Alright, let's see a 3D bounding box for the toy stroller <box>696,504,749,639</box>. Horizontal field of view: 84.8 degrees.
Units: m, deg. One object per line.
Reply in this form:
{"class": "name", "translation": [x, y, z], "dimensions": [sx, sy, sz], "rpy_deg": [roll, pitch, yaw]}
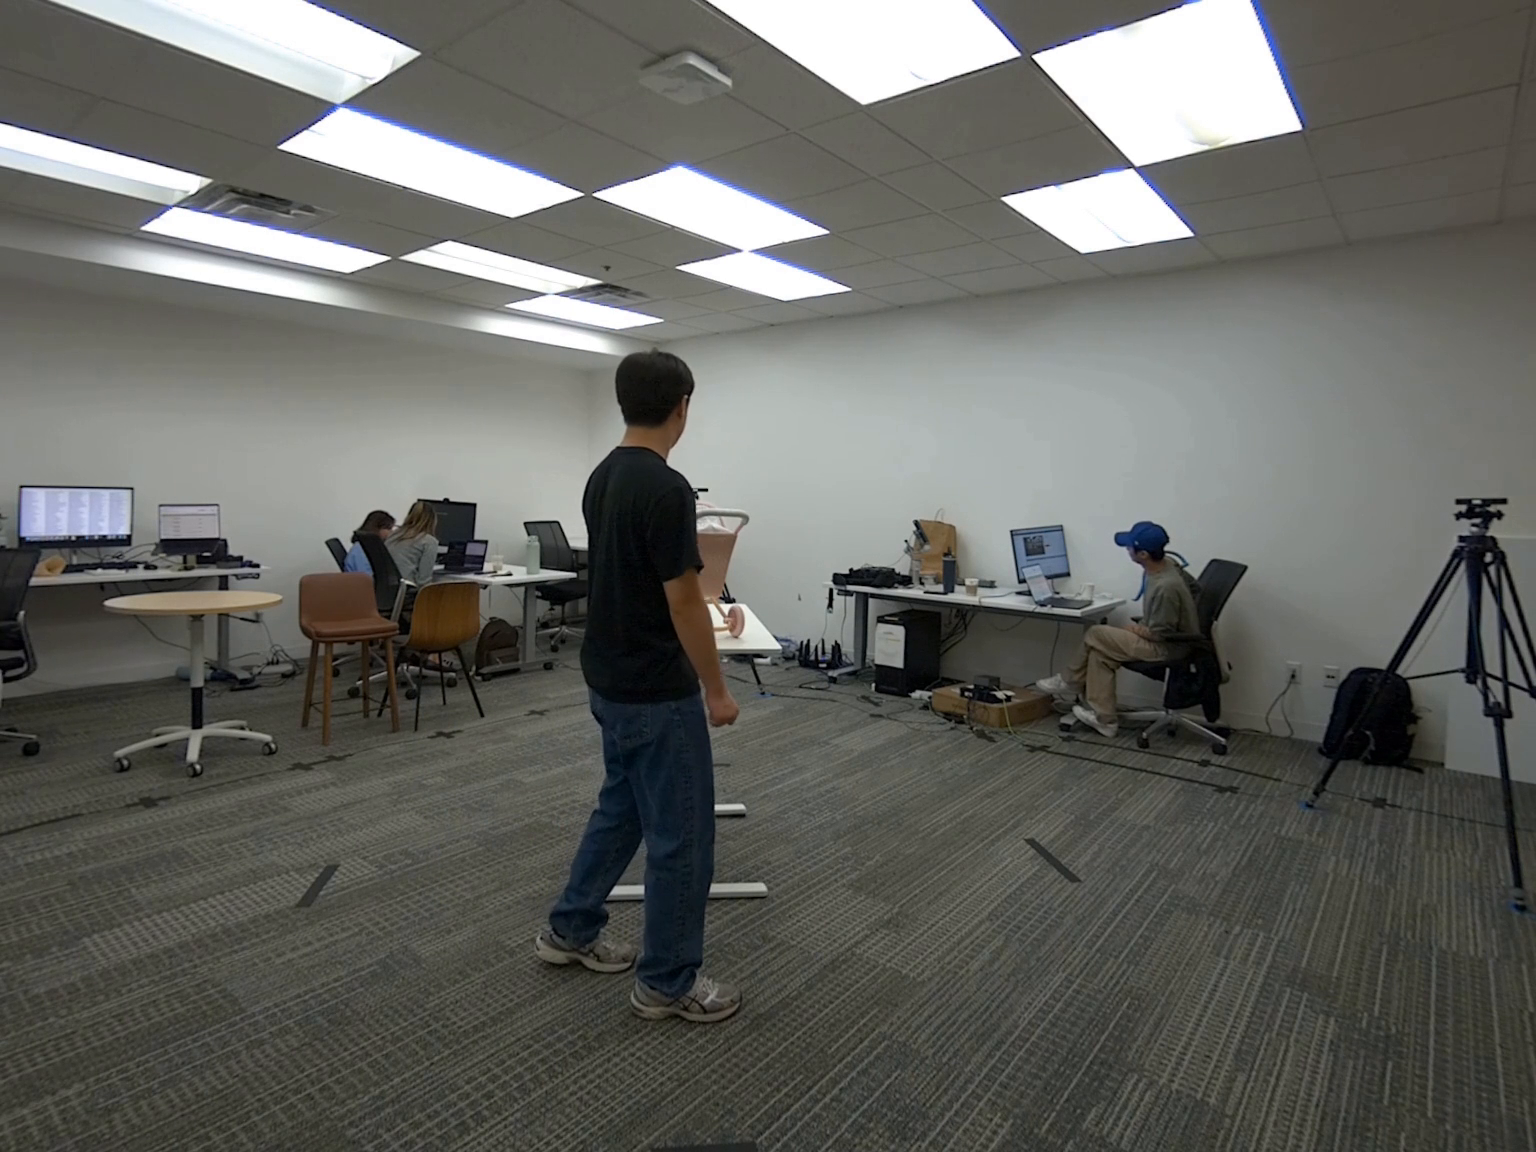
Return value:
{"class": "toy stroller", "translation": [-0.257, -0.019, 2.927], "dimensions": [0.275, 0.528, 0.353], "rpy_deg": [1, 17, -23]}
